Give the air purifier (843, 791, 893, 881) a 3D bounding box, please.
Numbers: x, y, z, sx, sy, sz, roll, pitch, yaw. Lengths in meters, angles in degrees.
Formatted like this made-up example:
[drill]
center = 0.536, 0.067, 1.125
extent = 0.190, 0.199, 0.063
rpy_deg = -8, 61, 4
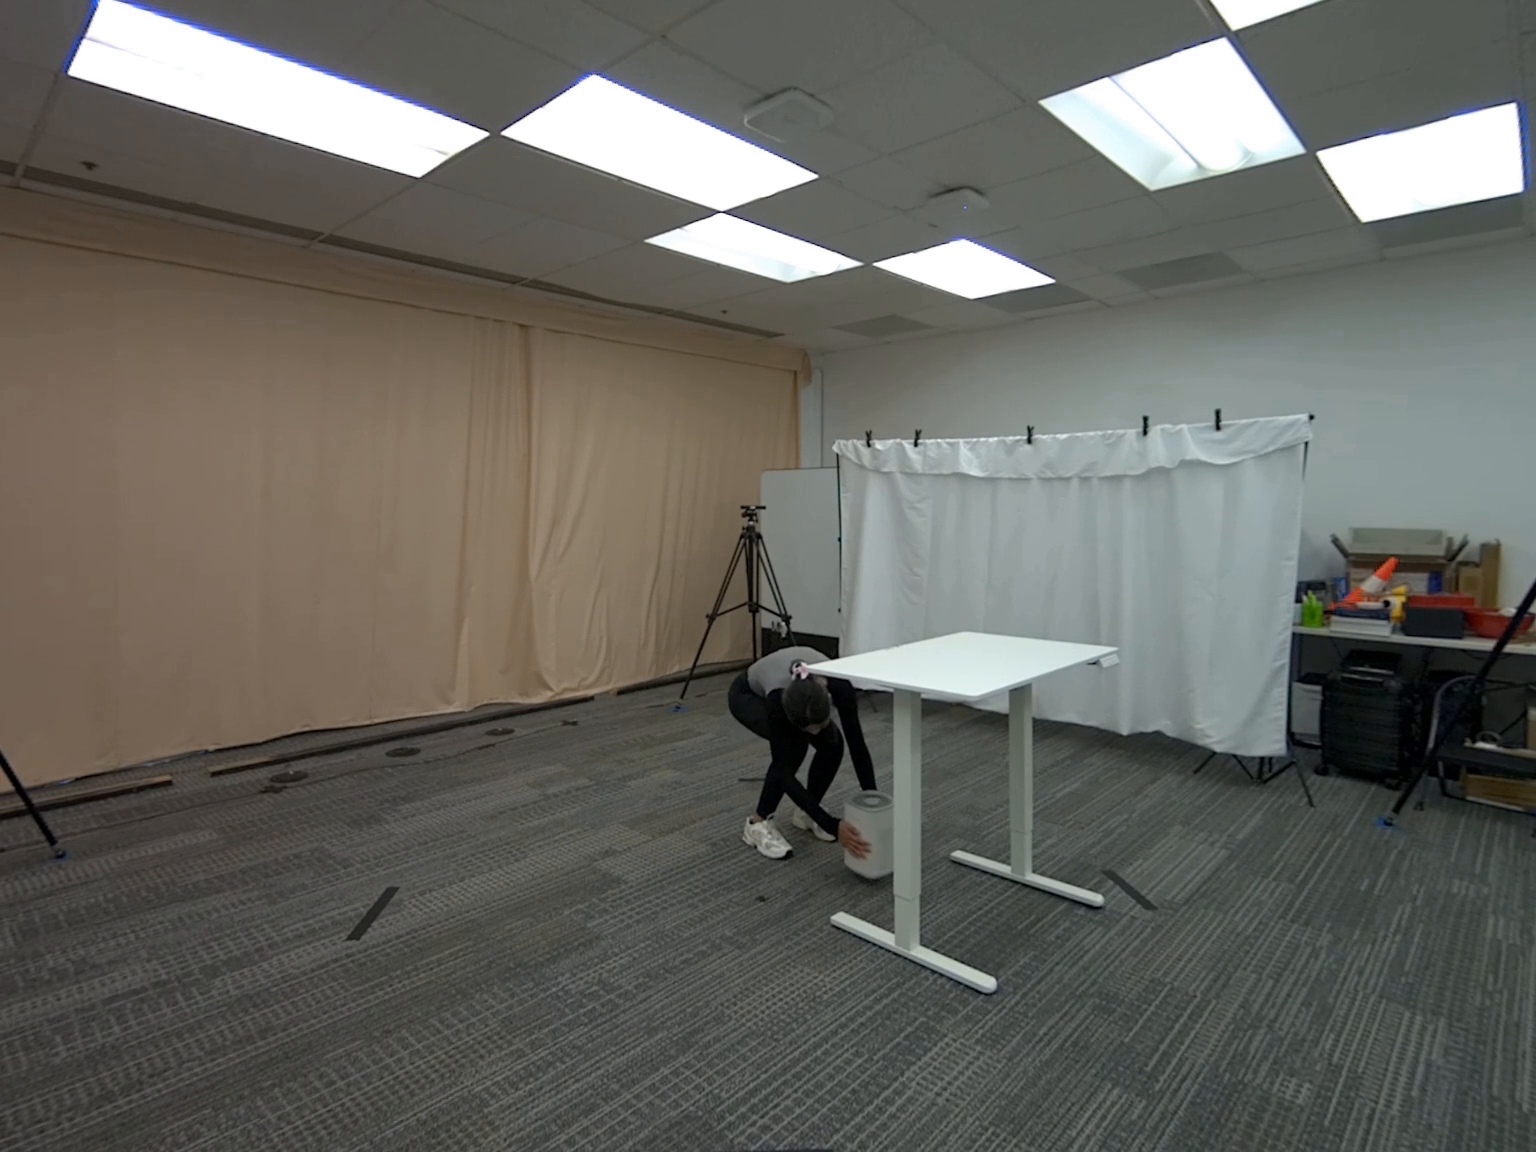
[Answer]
[air purifier]
center = 0.380, 0.957, 3.119
extent = 0.167, 0.264, 0.177
rpy_deg = -7, 8, -39
